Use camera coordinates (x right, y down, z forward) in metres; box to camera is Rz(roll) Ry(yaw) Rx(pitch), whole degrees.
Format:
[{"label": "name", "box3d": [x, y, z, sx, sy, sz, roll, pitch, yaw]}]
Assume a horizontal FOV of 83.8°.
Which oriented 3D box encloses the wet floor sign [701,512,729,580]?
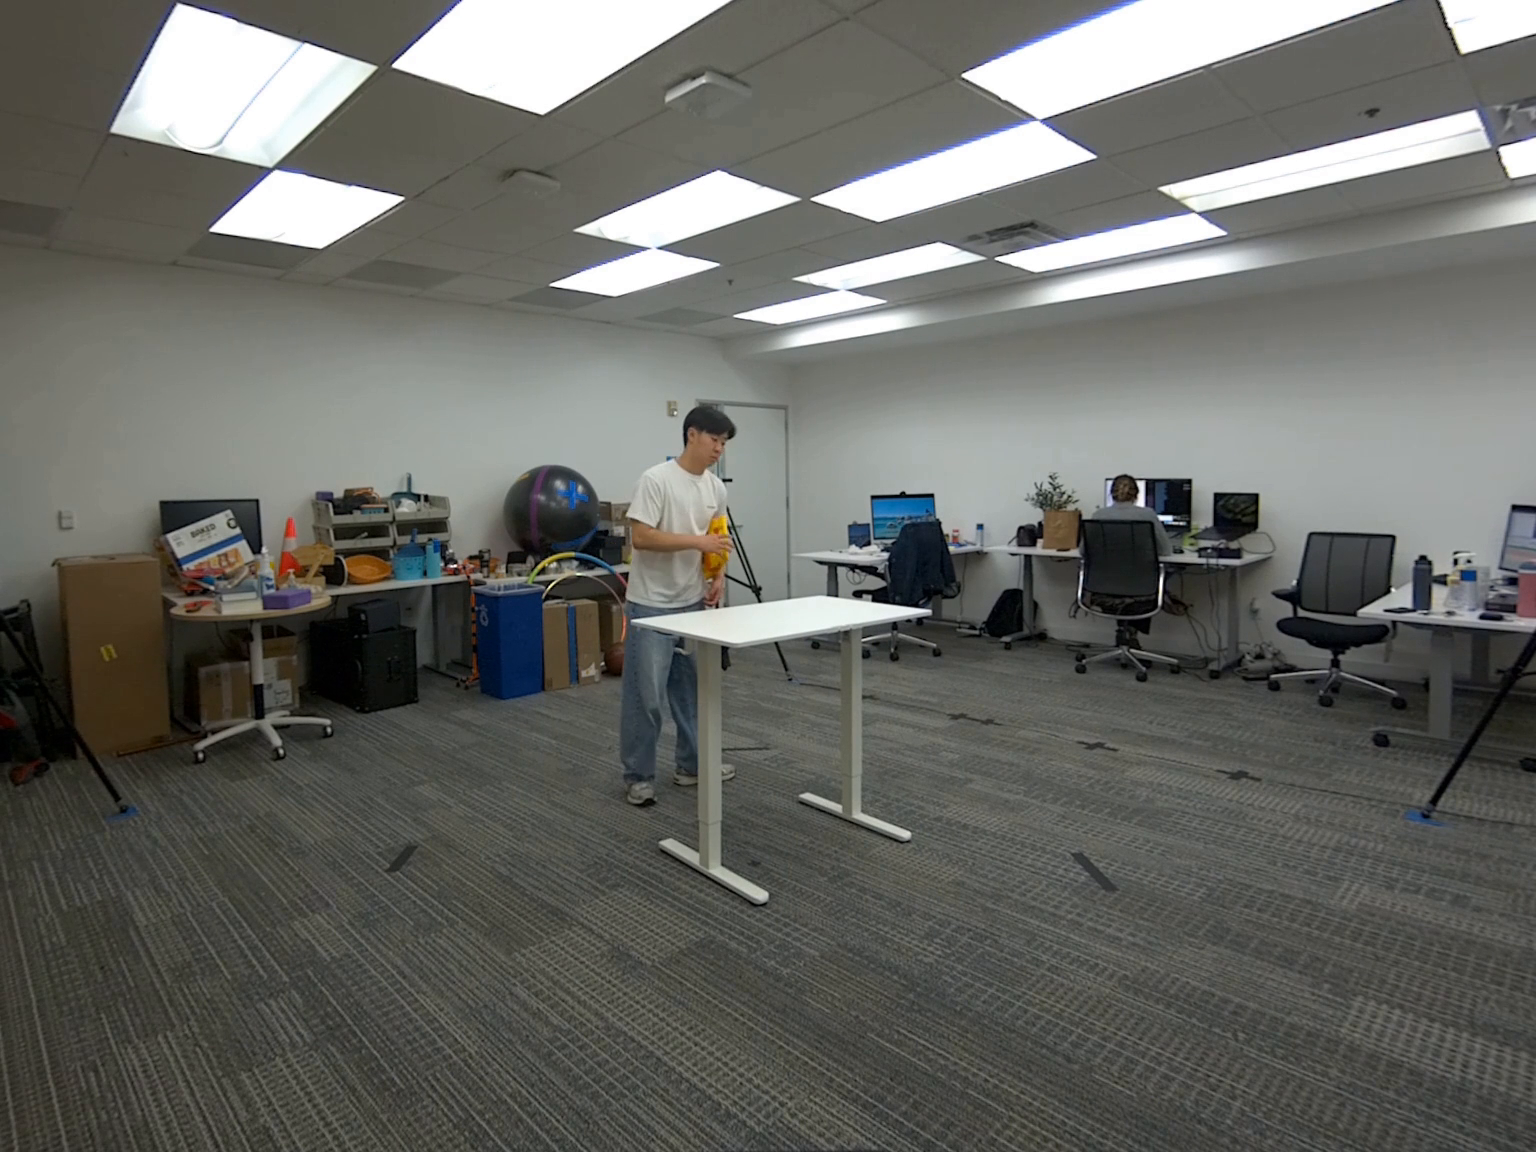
[{"label": "wet floor sign", "box3d": [-0.347, -0.090, 4.039, 0.283, 0.286, 0.652, 1, -15, -28]}]
